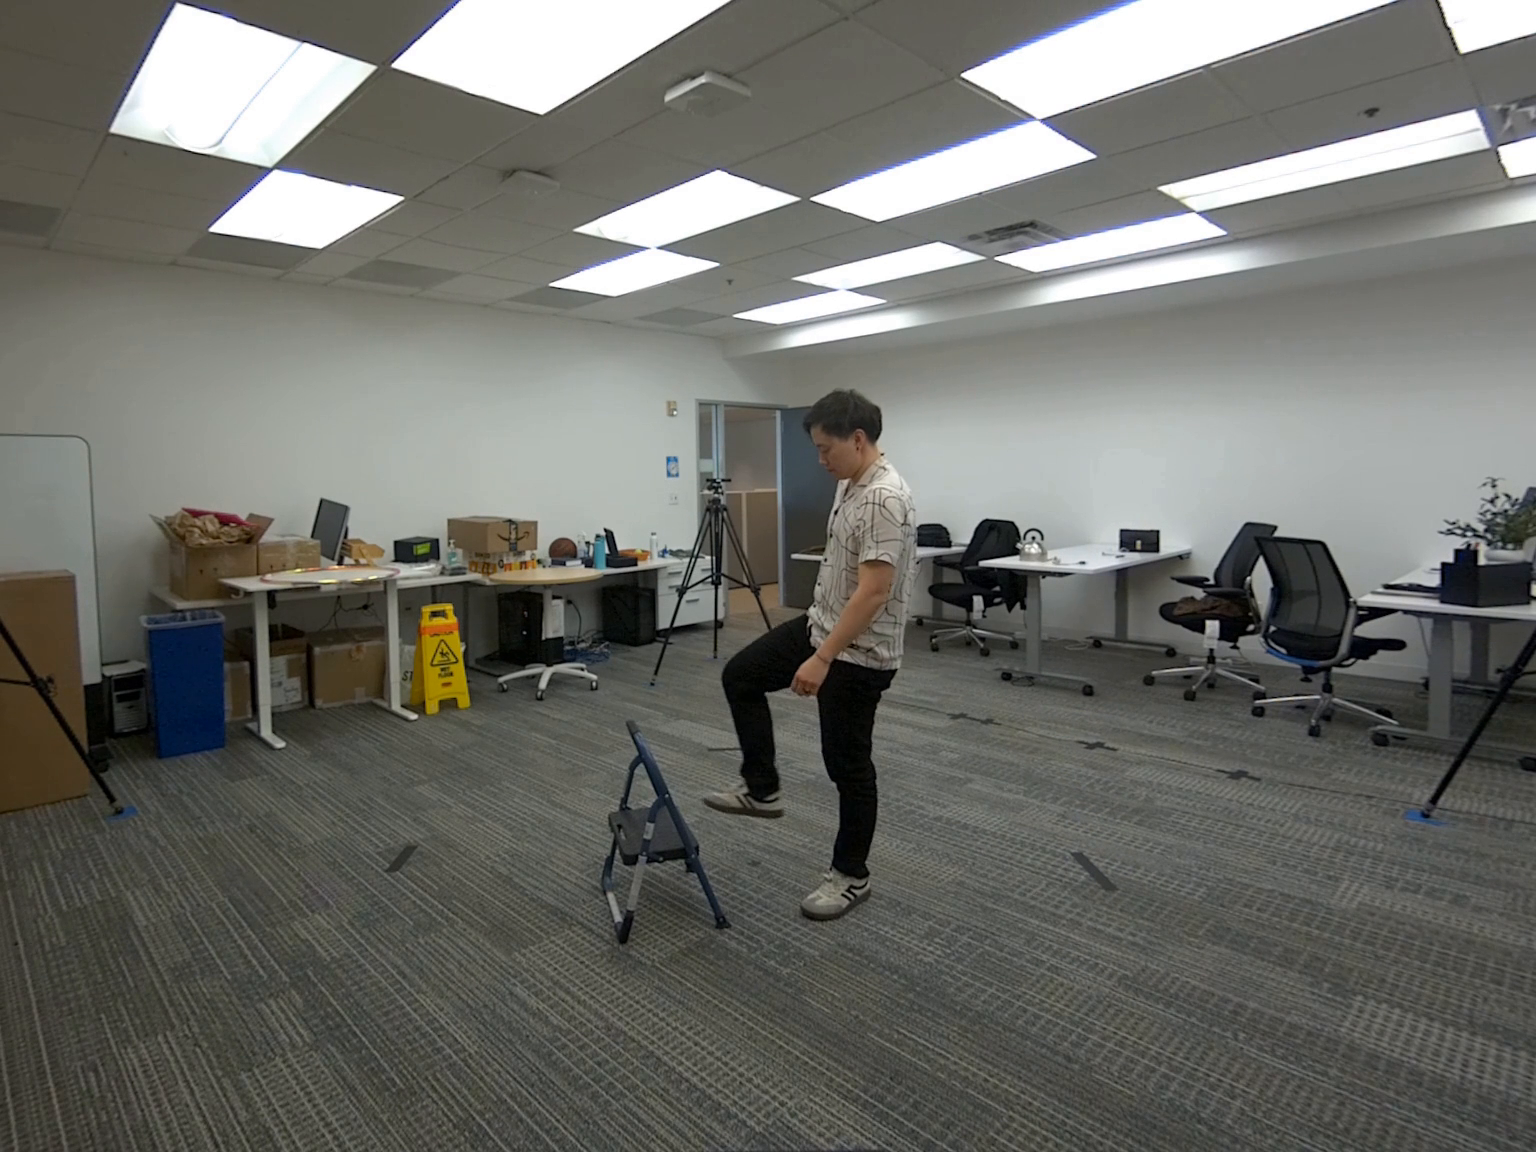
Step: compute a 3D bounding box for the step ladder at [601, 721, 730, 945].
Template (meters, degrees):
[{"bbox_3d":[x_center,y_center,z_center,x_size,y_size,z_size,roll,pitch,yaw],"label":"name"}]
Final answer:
[{"bbox_3d":[-0.352,0.783,2.800,0.344,0.604,0.439,-2,5,-18],"label":"step ladder"}]
